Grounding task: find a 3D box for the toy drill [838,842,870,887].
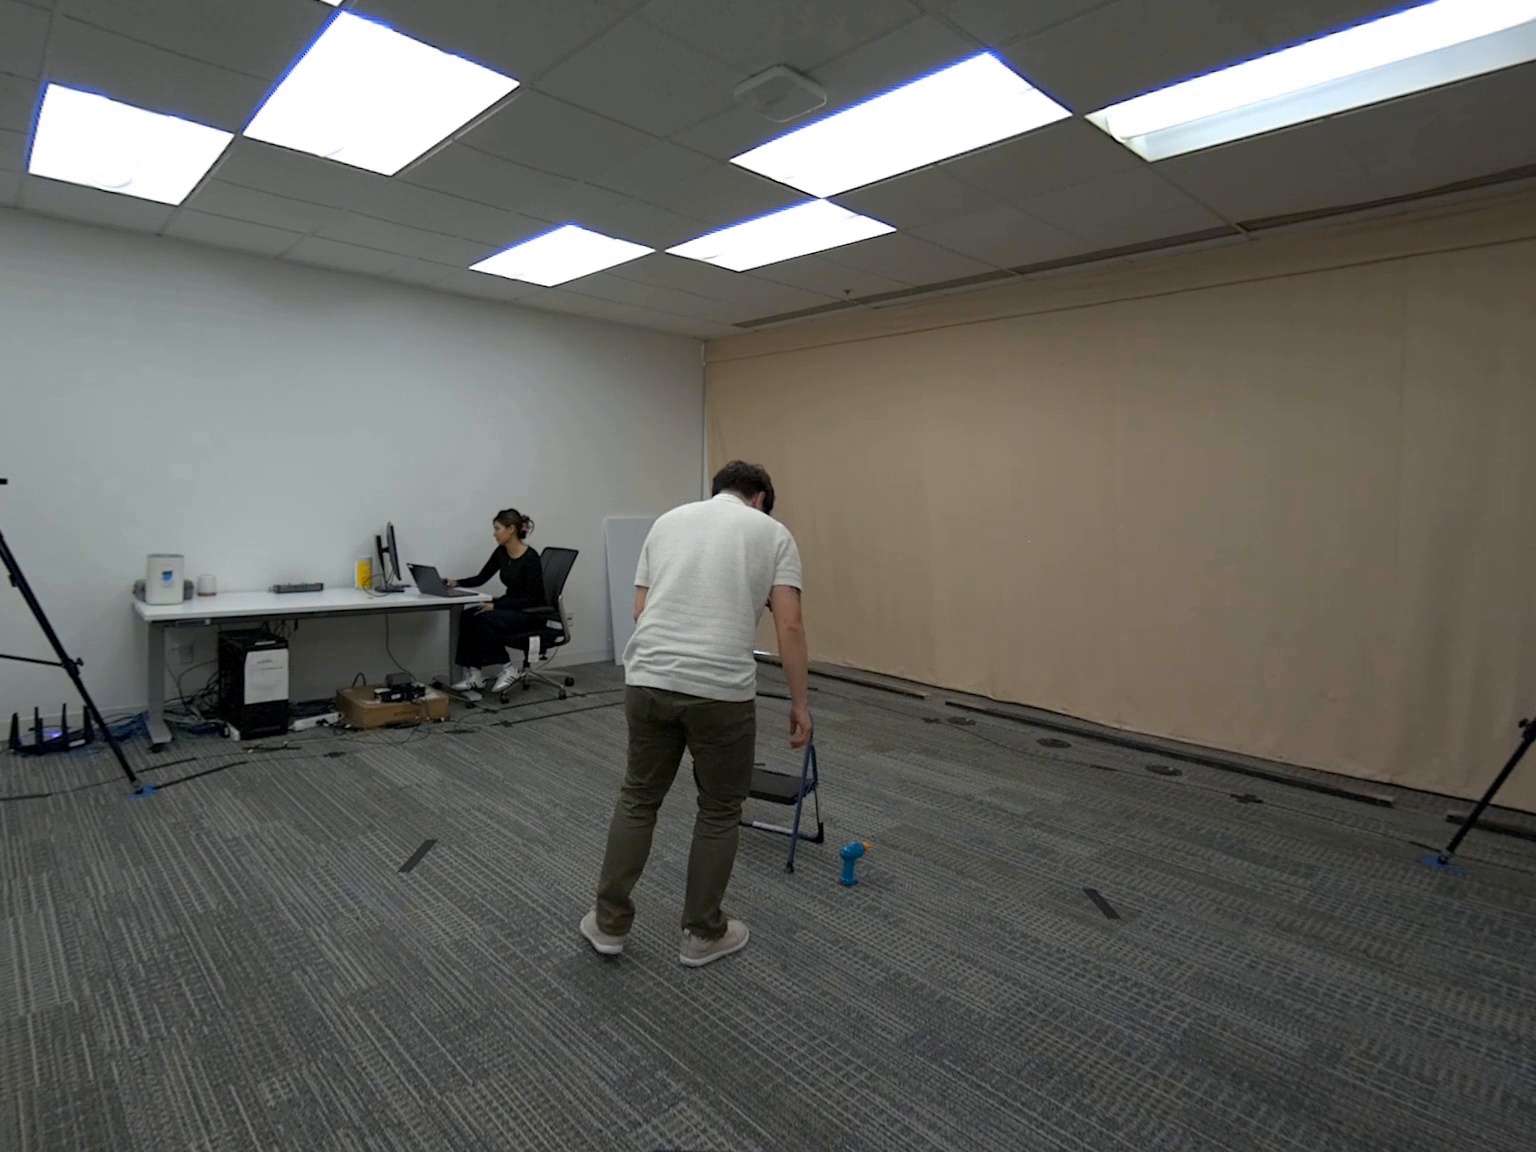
[{"bbox_3d":[0.314,1.046,3.087,0.166,0.146,0.062,0,2,-40],"label":"toy drill"}]
